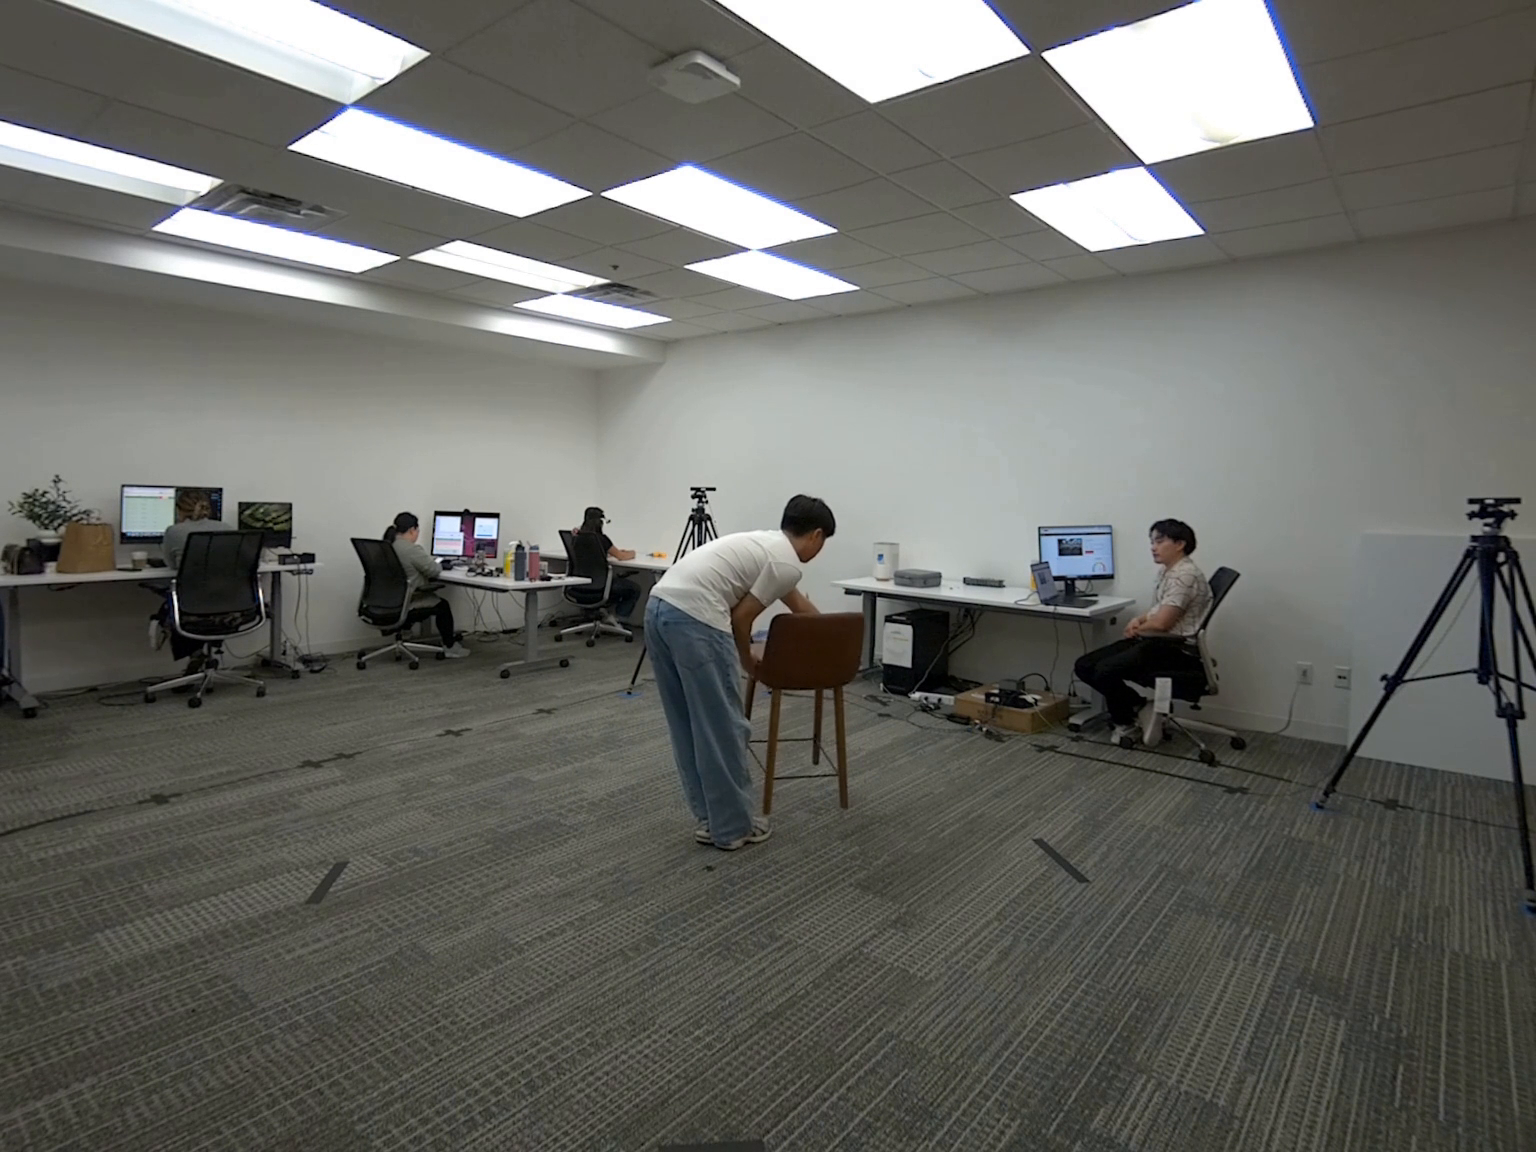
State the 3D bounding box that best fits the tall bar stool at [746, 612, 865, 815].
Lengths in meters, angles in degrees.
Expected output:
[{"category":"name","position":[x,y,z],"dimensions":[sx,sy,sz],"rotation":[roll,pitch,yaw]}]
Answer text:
[{"category":"tall bar stool","position":[0.122,0.524,3.736],"dimensions":[0.449,0.881,0.480],"rotation":[1,12,-16]}]
